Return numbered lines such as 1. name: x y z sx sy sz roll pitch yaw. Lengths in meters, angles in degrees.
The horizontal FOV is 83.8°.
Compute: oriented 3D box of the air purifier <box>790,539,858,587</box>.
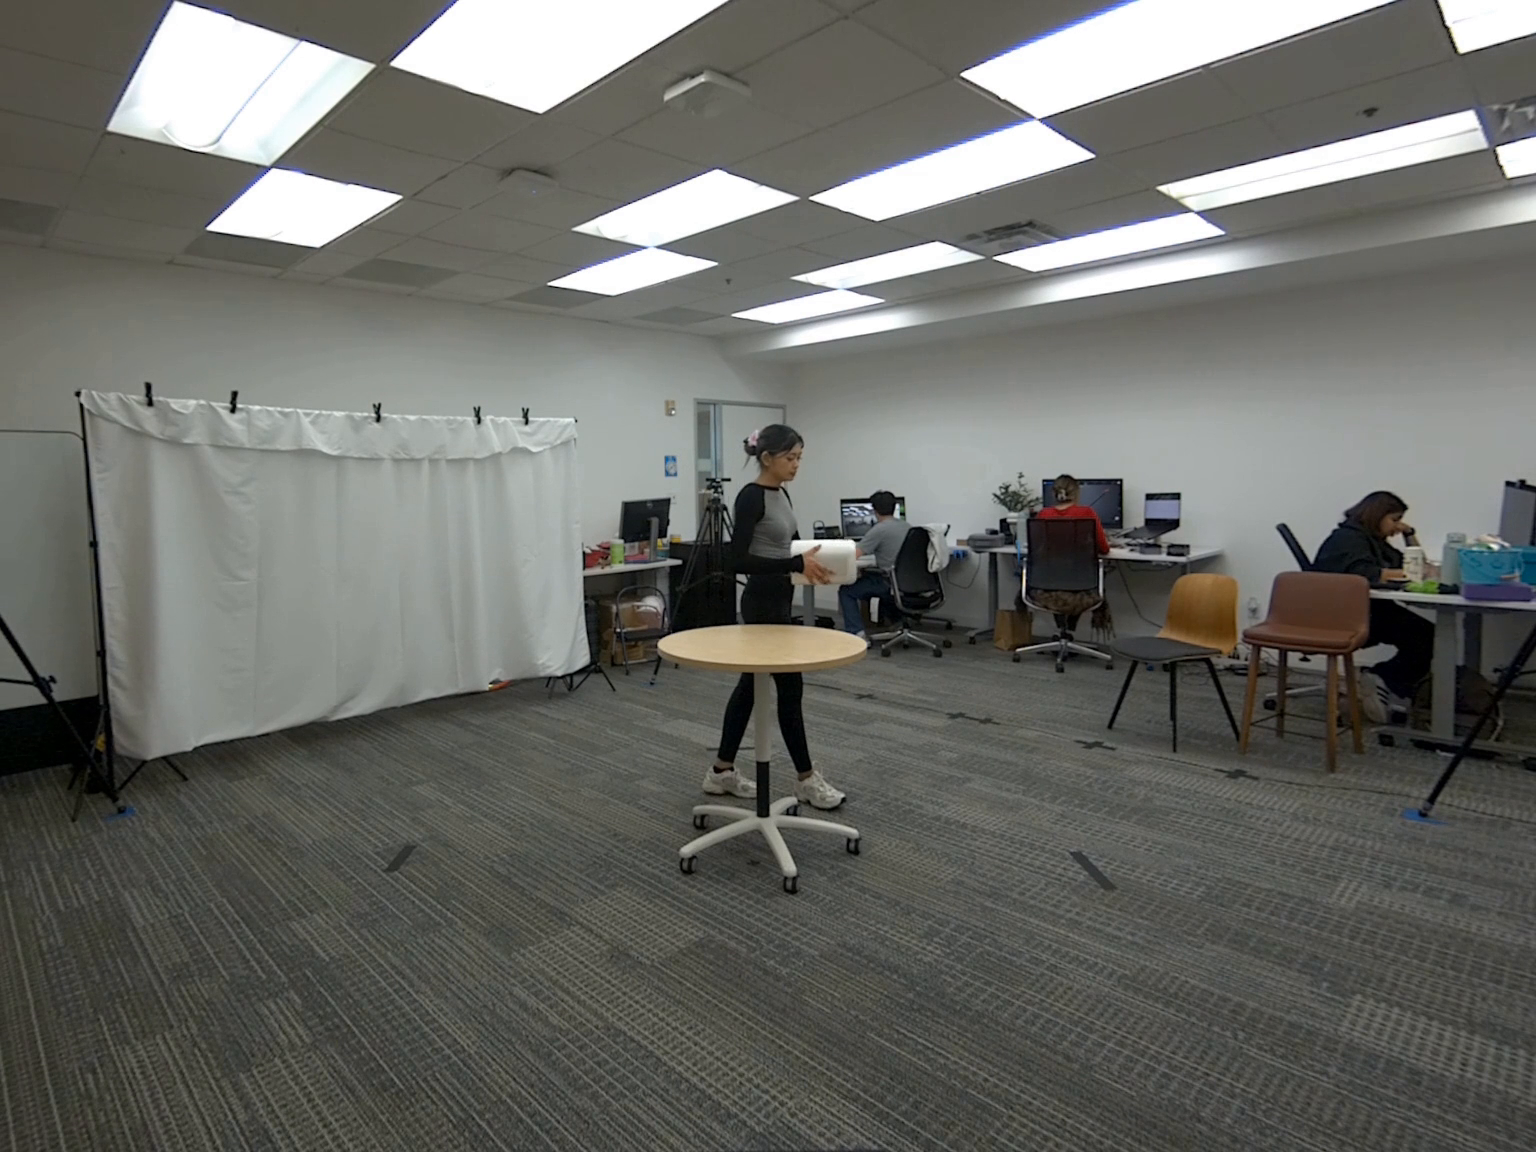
1. air purifier: 0.227 -0.057 3.512 0.268 0.169 0.171 -1 14 10
